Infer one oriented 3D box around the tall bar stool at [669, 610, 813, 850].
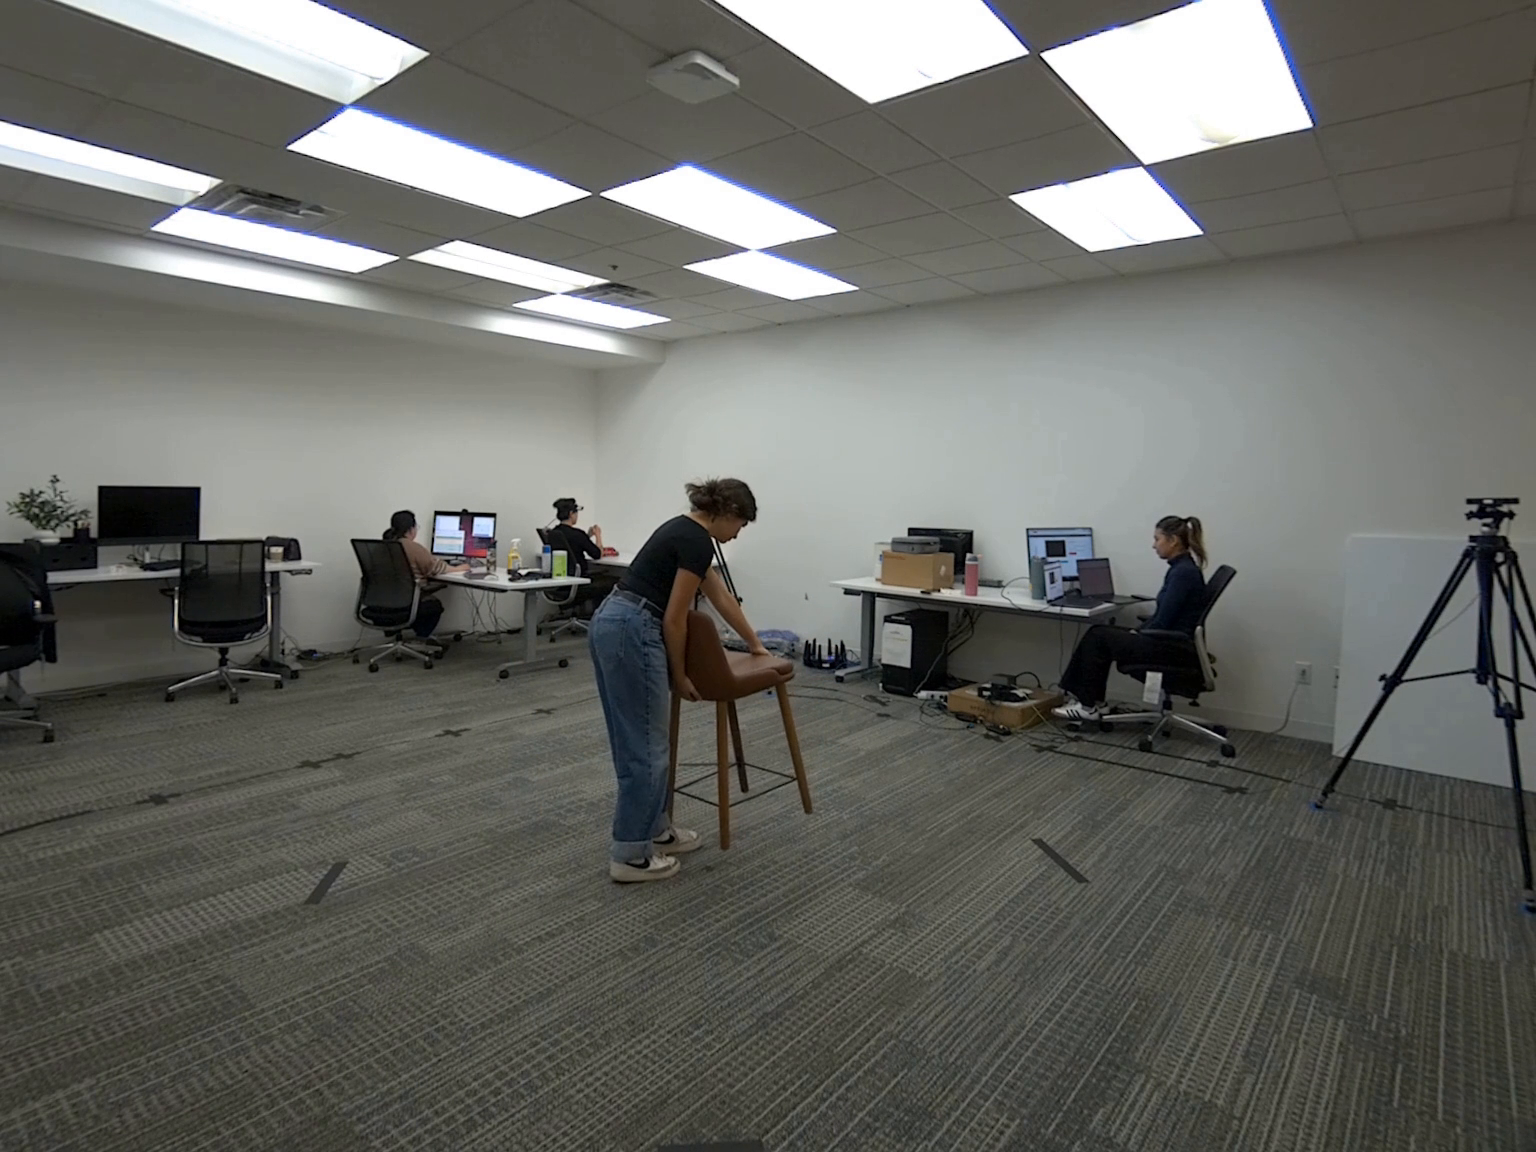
[{"bbox_3d":[-0.176,0.524,3.310,0.456,0.885,0.470,-11,6,-41],"label":"tall bar stool"}]
